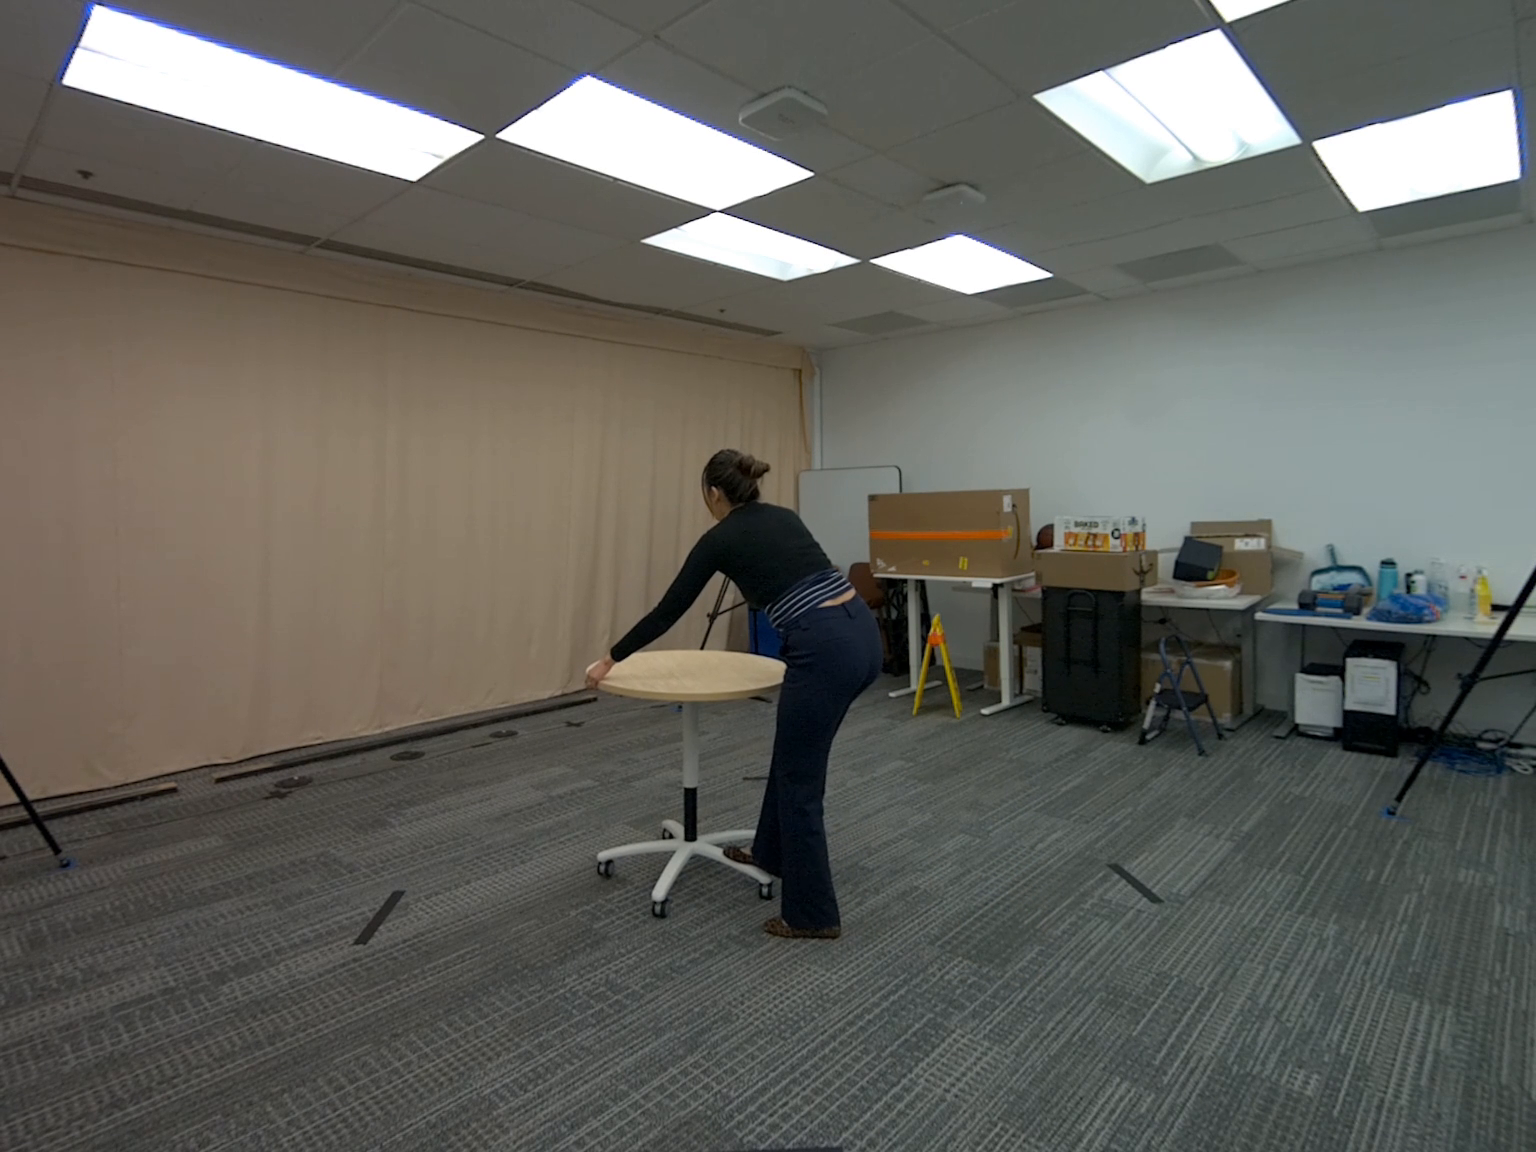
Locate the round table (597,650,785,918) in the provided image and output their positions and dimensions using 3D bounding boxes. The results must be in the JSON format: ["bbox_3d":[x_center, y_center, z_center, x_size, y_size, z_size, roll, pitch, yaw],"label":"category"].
[{"bbox_3d":[-0.282,0.737,3.137,0.763,0.792,0.767,0,4,-2],"label":"round table"}]
